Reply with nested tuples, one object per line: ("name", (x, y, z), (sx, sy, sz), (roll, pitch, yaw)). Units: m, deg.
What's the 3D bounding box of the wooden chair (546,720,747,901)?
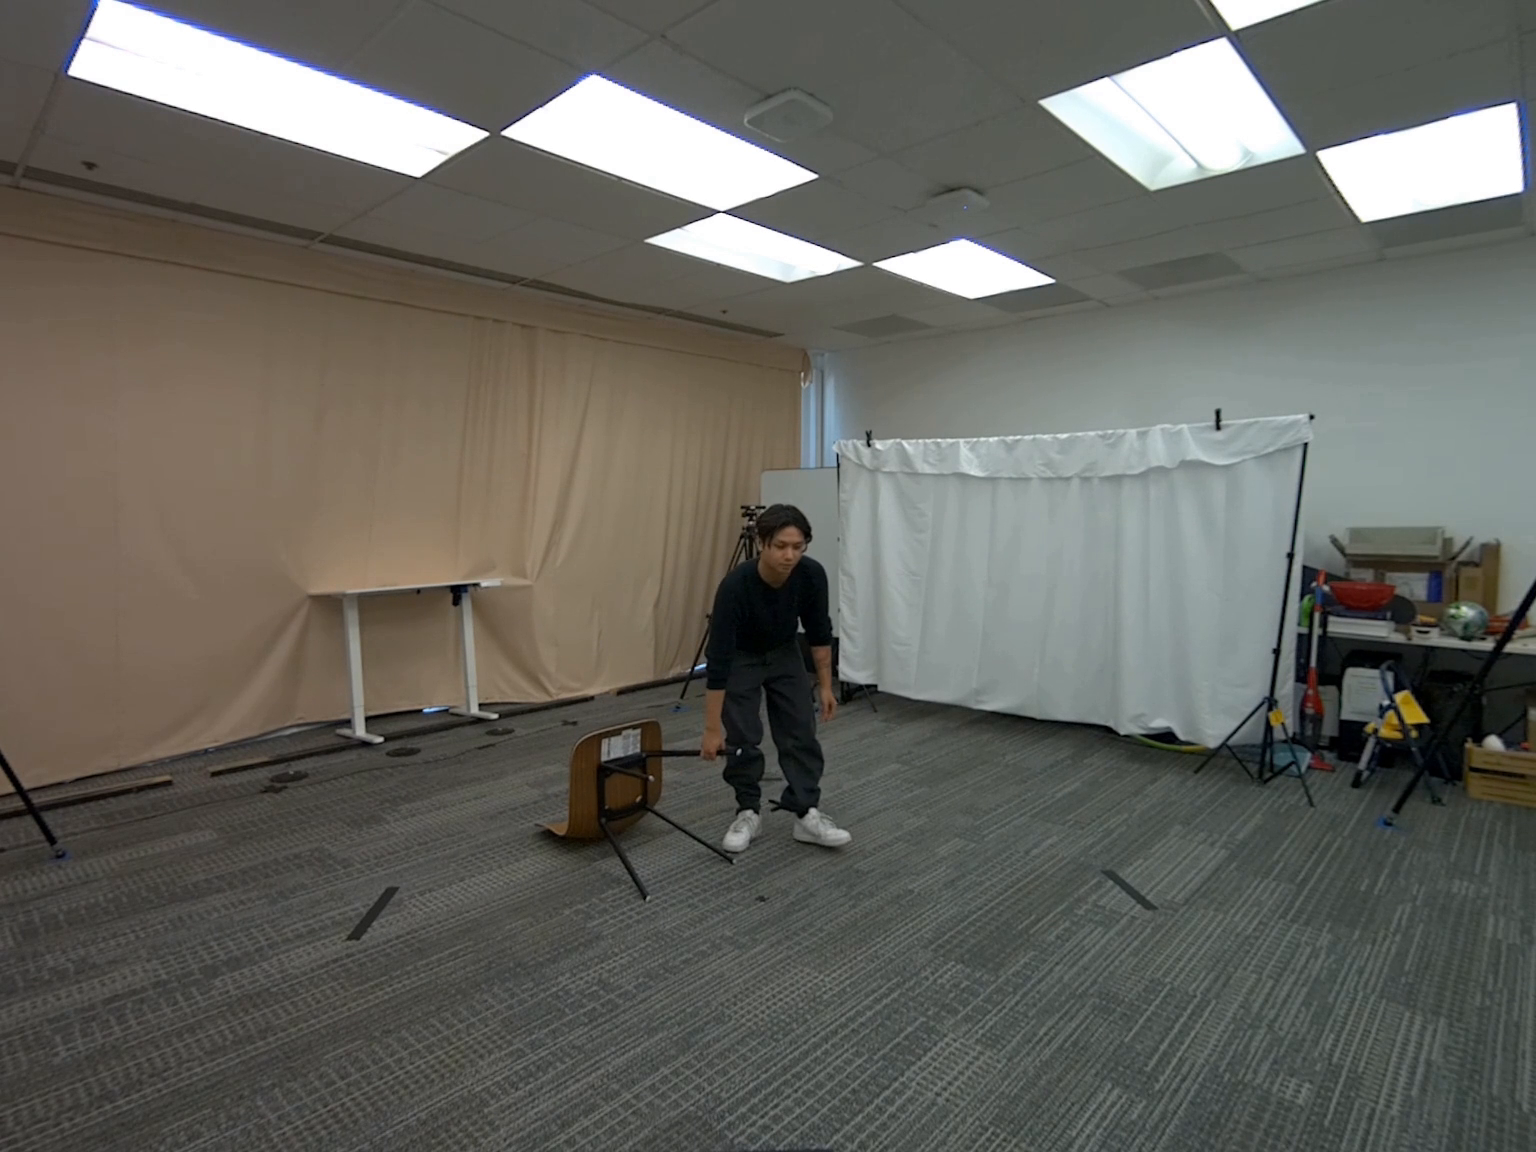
("wooden chair", (-0.577, 0.857, 3.405), (0.906, 0.522, 0.463), (2, 4, 44))
